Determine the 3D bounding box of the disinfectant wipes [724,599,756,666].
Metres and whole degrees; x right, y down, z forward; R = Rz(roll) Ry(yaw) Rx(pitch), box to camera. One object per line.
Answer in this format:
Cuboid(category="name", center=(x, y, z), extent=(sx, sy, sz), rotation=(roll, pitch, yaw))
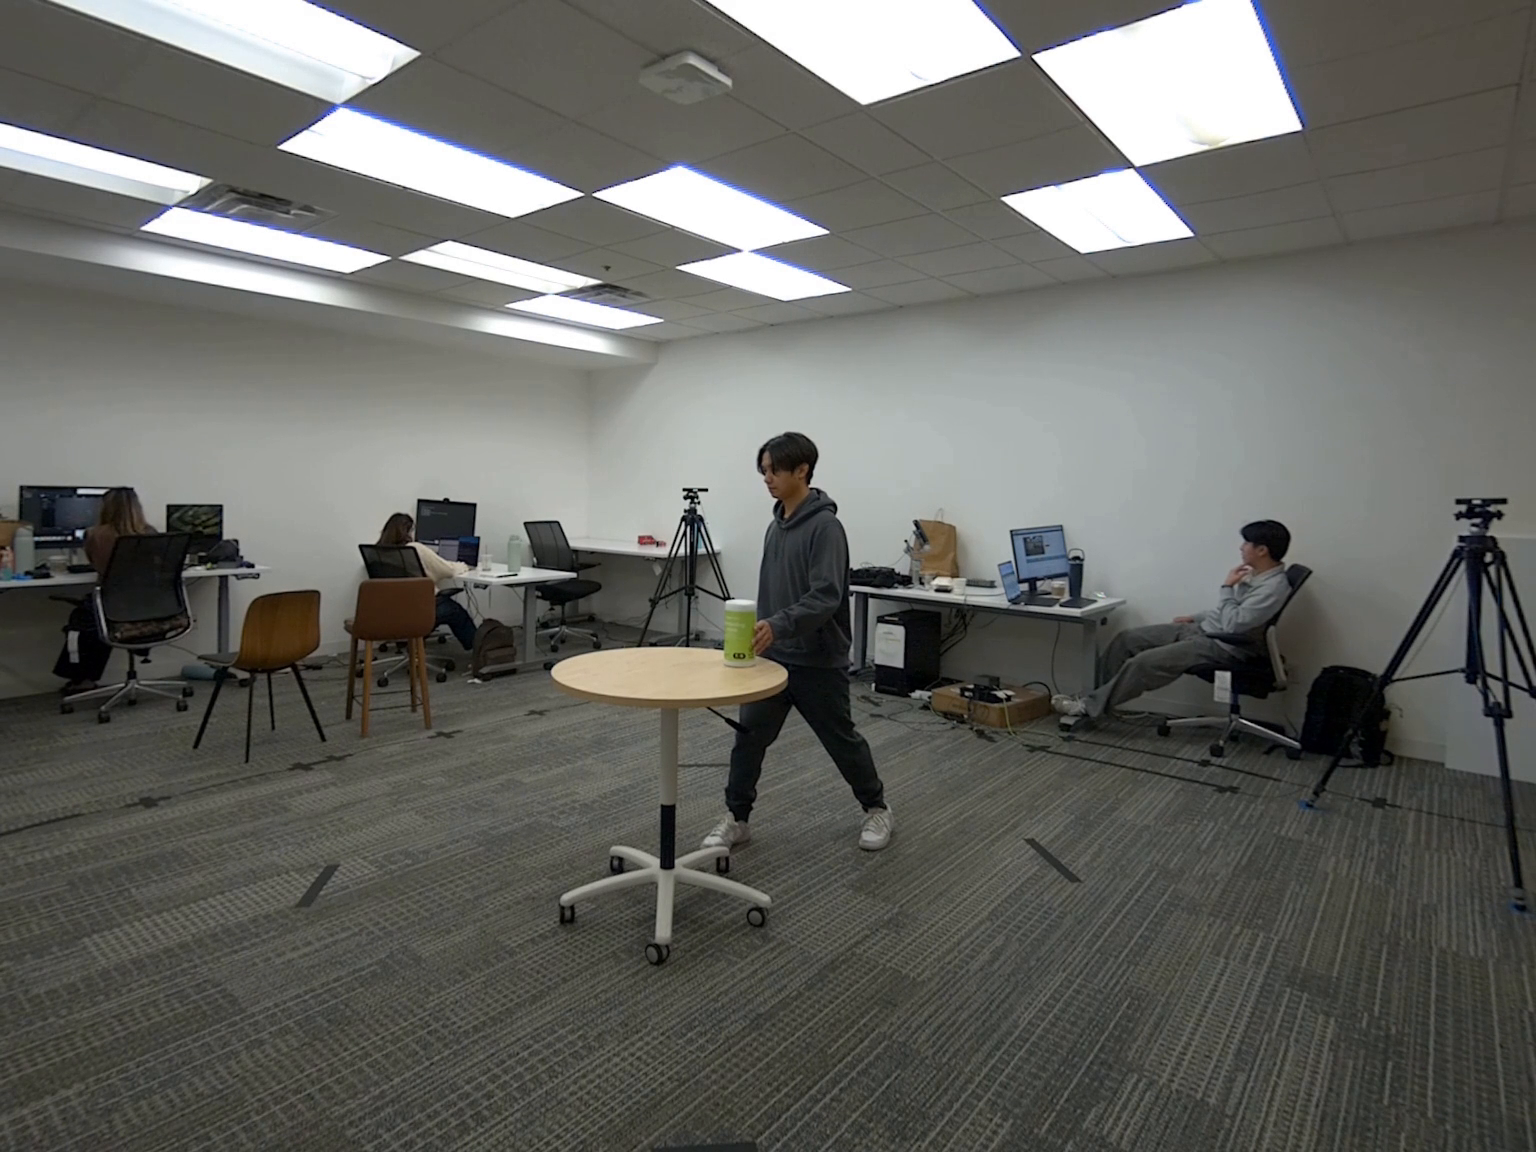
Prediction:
Cuboid(category="disinfectant wipes", center=(-0.104, 0.189, 2.868), extent=(0.118, 0.216, 0.118), rotation=(-1, 4, -2))
